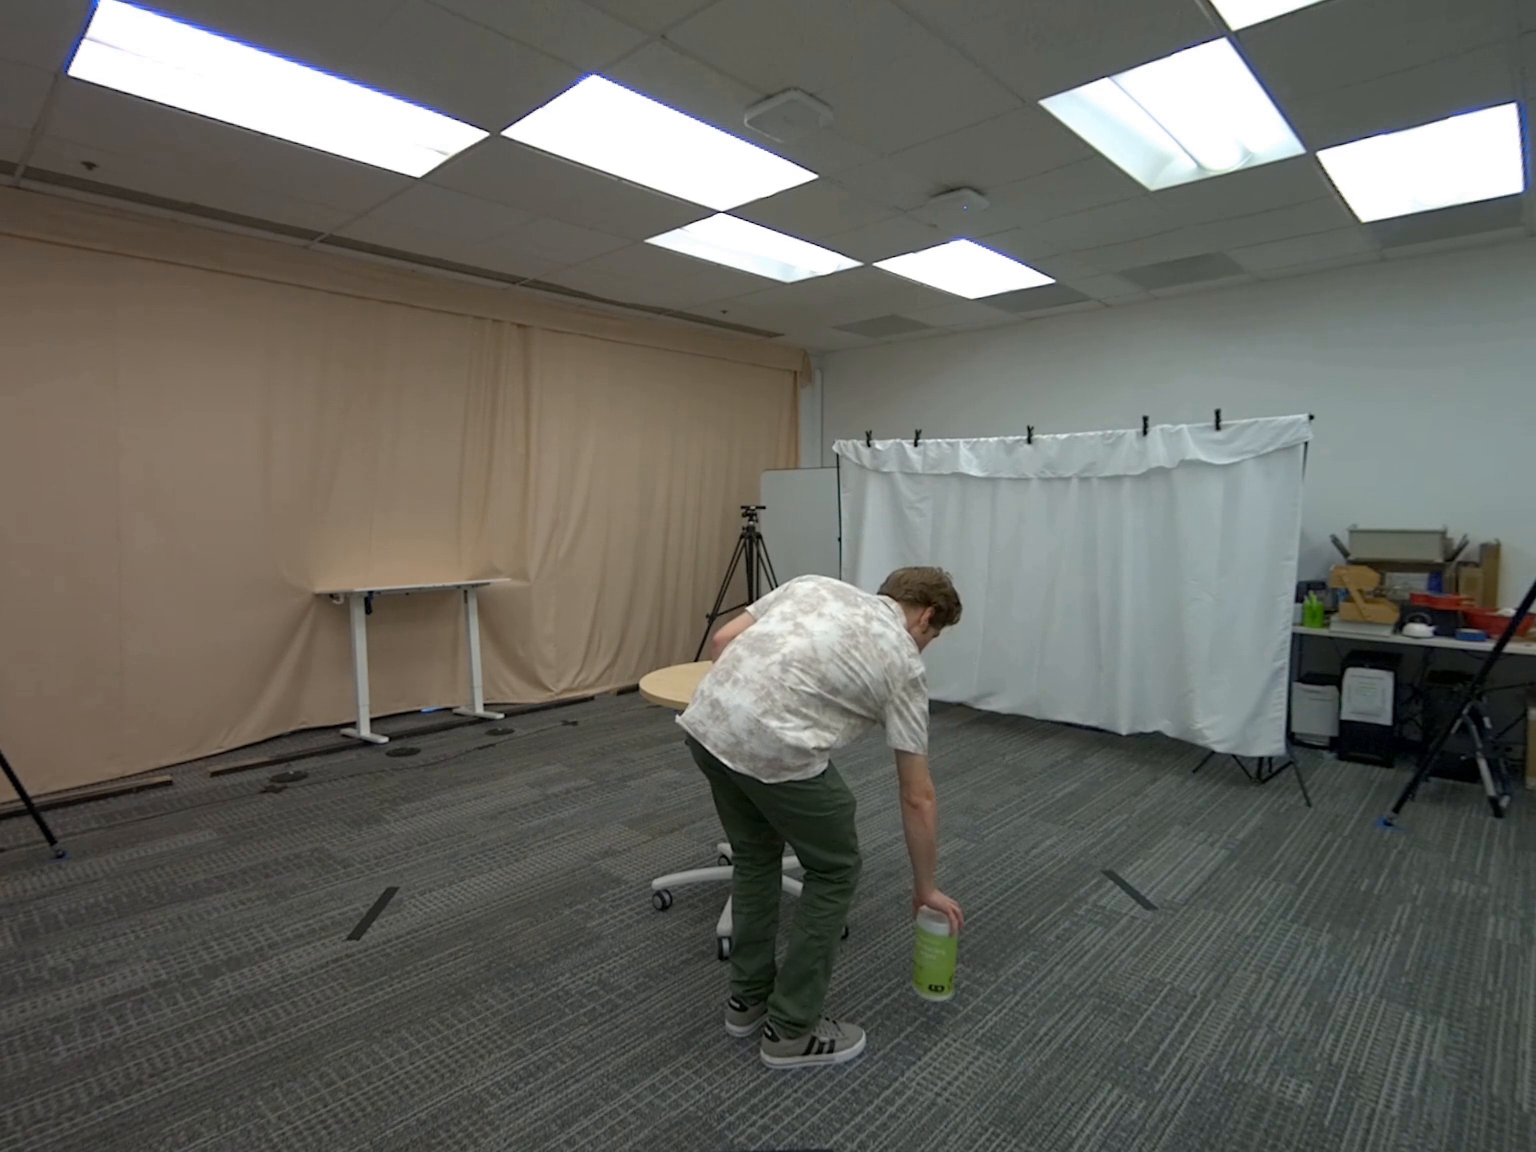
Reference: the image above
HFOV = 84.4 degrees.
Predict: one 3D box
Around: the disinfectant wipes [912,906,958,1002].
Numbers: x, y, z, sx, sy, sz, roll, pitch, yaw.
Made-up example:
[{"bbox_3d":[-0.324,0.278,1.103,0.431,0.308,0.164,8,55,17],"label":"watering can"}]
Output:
[{"bbox_3d":[0.455,1.012,2.253,0.117,0.217,0.118,3,4,-2],"label":"disinfectant wipes"}]
